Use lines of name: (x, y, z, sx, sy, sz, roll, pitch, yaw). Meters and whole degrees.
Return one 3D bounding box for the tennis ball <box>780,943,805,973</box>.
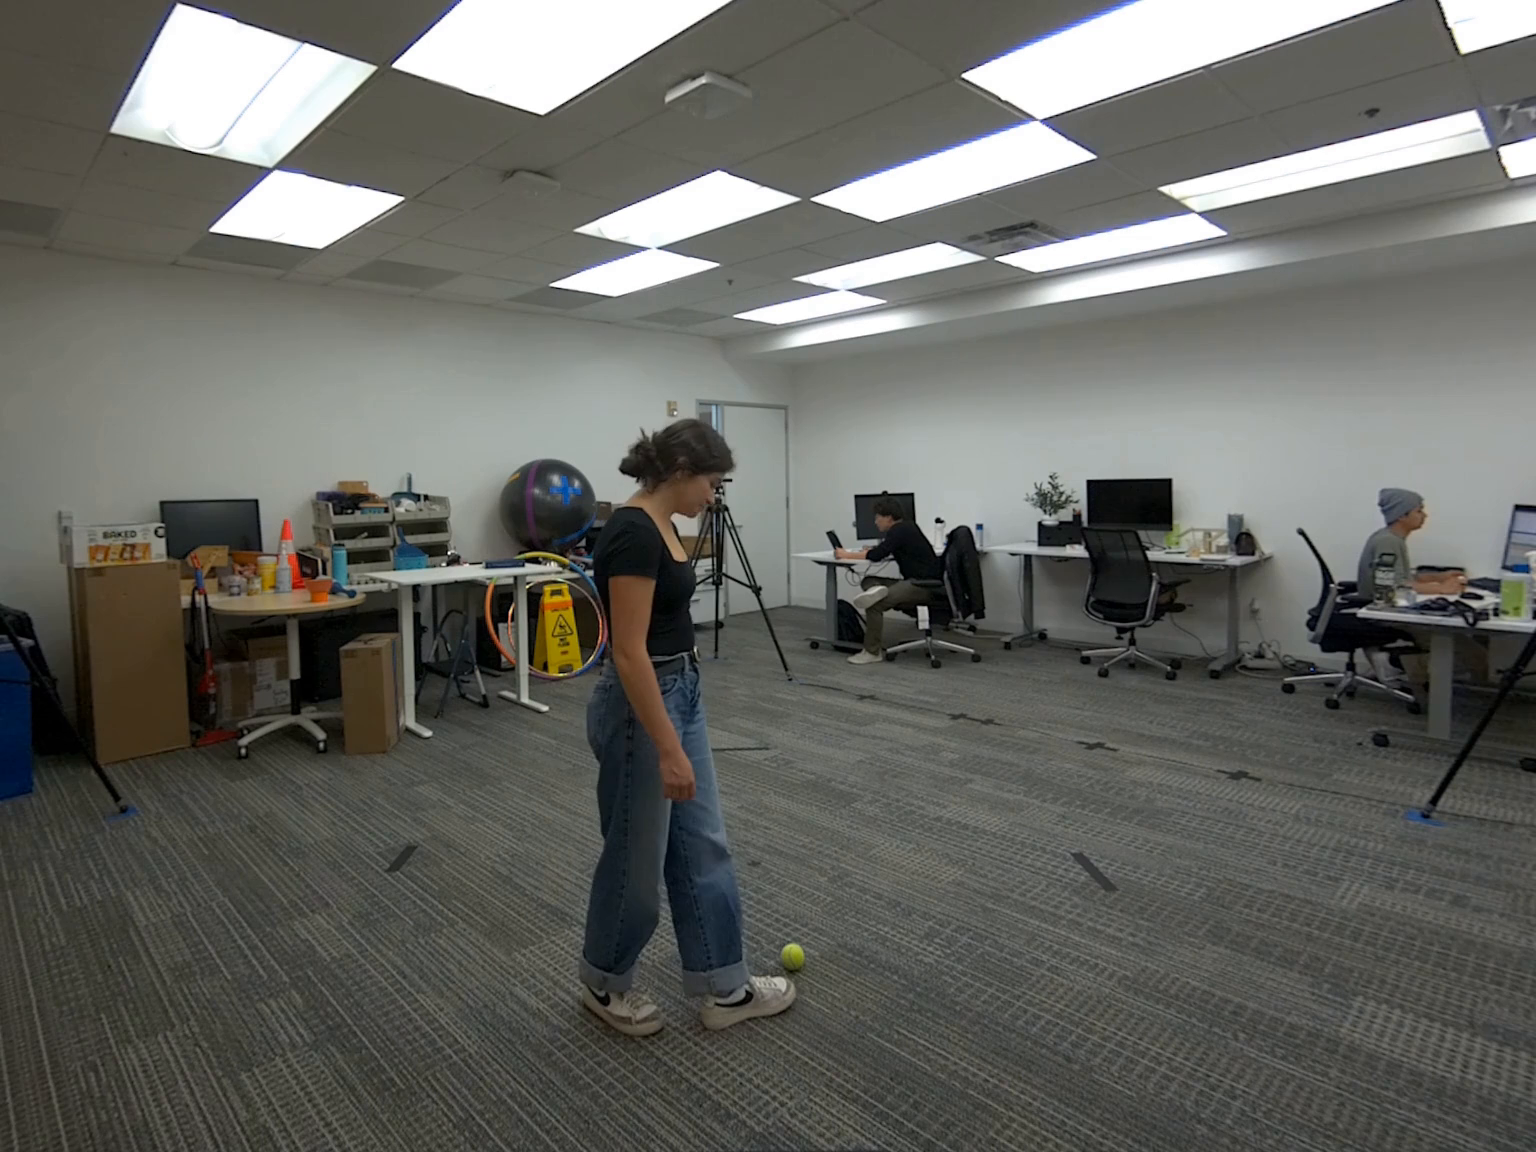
tennis ball: (0.078, 1.074, 2.437, 0.066, 0.066, 0.067, -1, 5, -2)
